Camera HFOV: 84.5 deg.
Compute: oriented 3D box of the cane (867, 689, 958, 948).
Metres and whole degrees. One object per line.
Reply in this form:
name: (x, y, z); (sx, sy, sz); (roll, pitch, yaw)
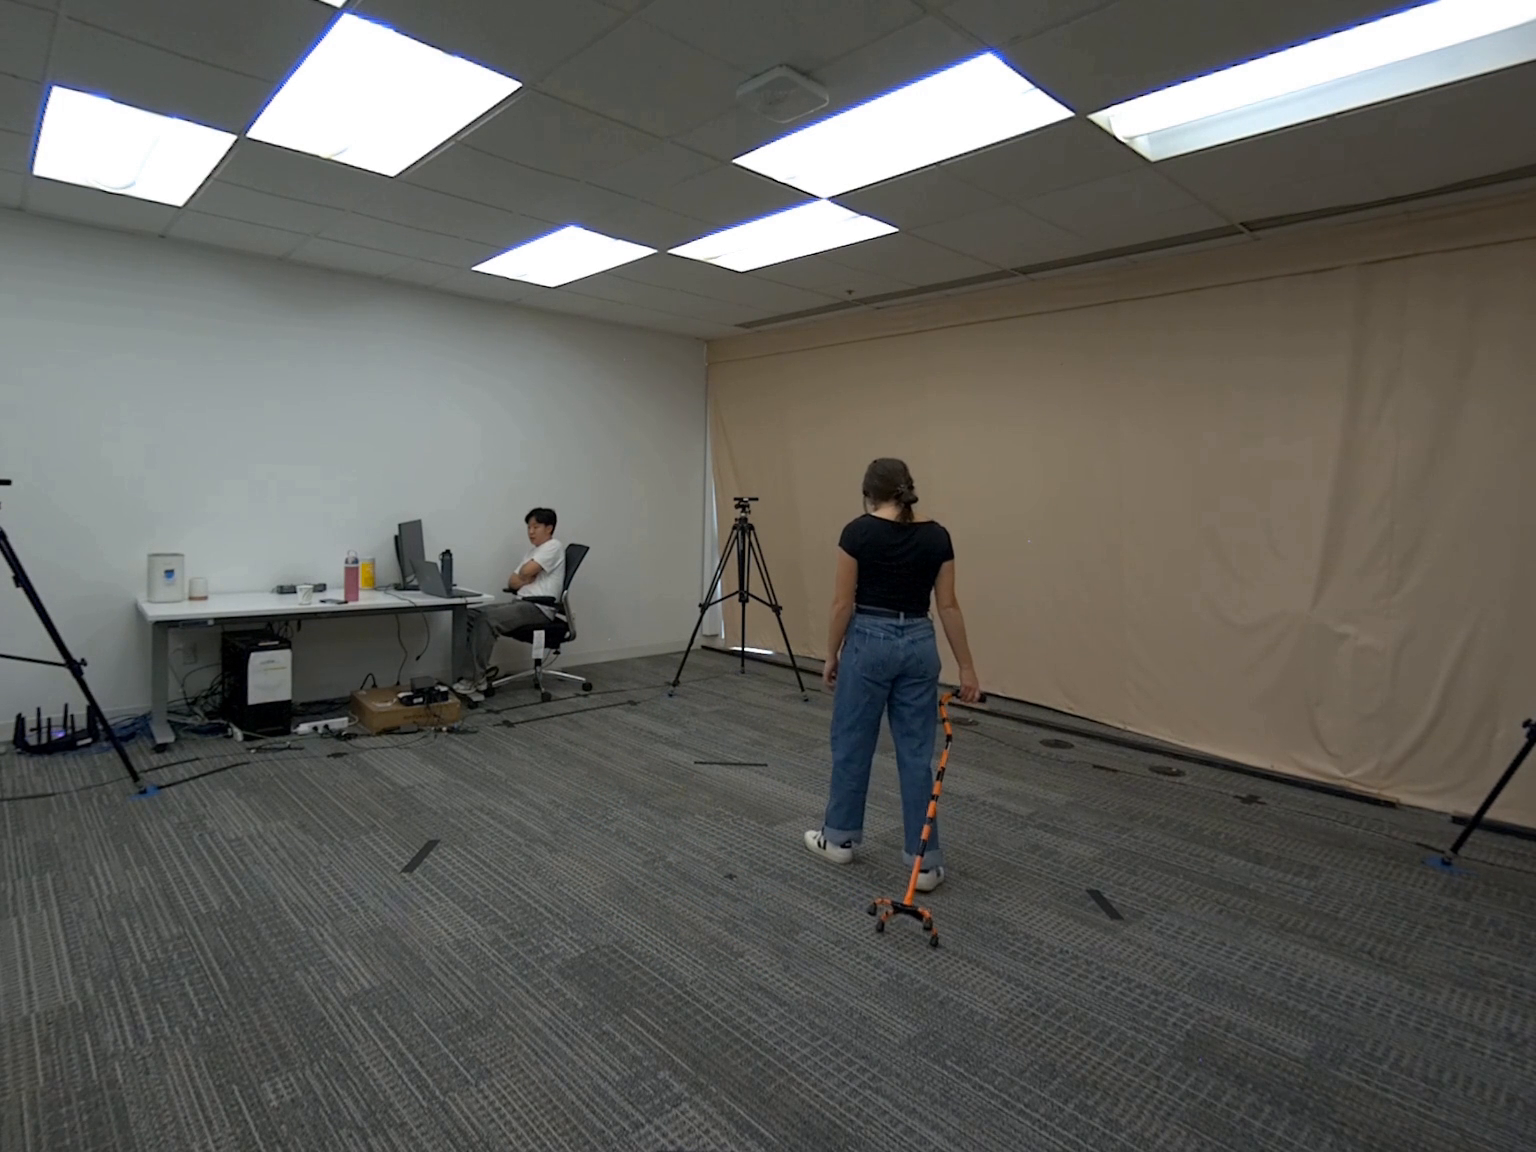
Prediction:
cane: (0.576, 0.784, 2.895); (0.211, 0.147, 0.915); (5, 48, 27)
